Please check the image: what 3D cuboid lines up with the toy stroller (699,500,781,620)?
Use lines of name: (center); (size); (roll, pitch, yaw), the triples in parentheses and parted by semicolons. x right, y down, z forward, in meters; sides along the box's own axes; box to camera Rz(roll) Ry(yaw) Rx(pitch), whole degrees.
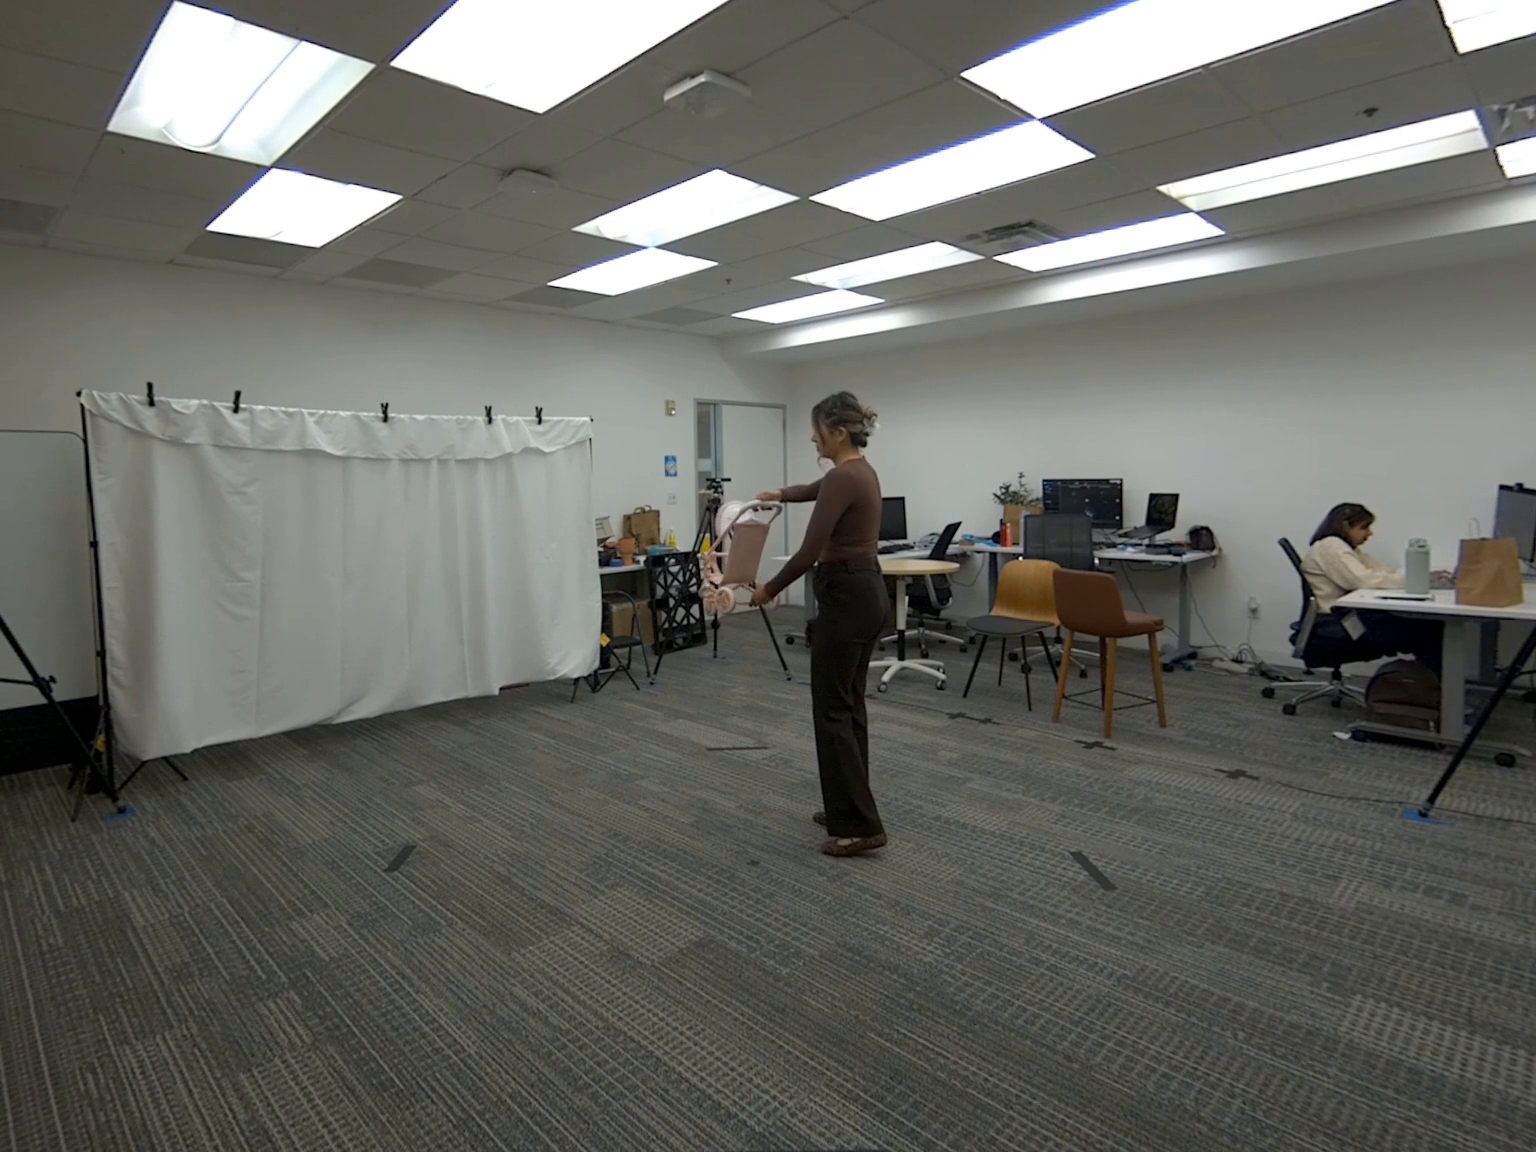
toy stroller: (-0.130, -0.068, 3.526); (0.274, 0.532, 0.353); (0, 10, -38)
